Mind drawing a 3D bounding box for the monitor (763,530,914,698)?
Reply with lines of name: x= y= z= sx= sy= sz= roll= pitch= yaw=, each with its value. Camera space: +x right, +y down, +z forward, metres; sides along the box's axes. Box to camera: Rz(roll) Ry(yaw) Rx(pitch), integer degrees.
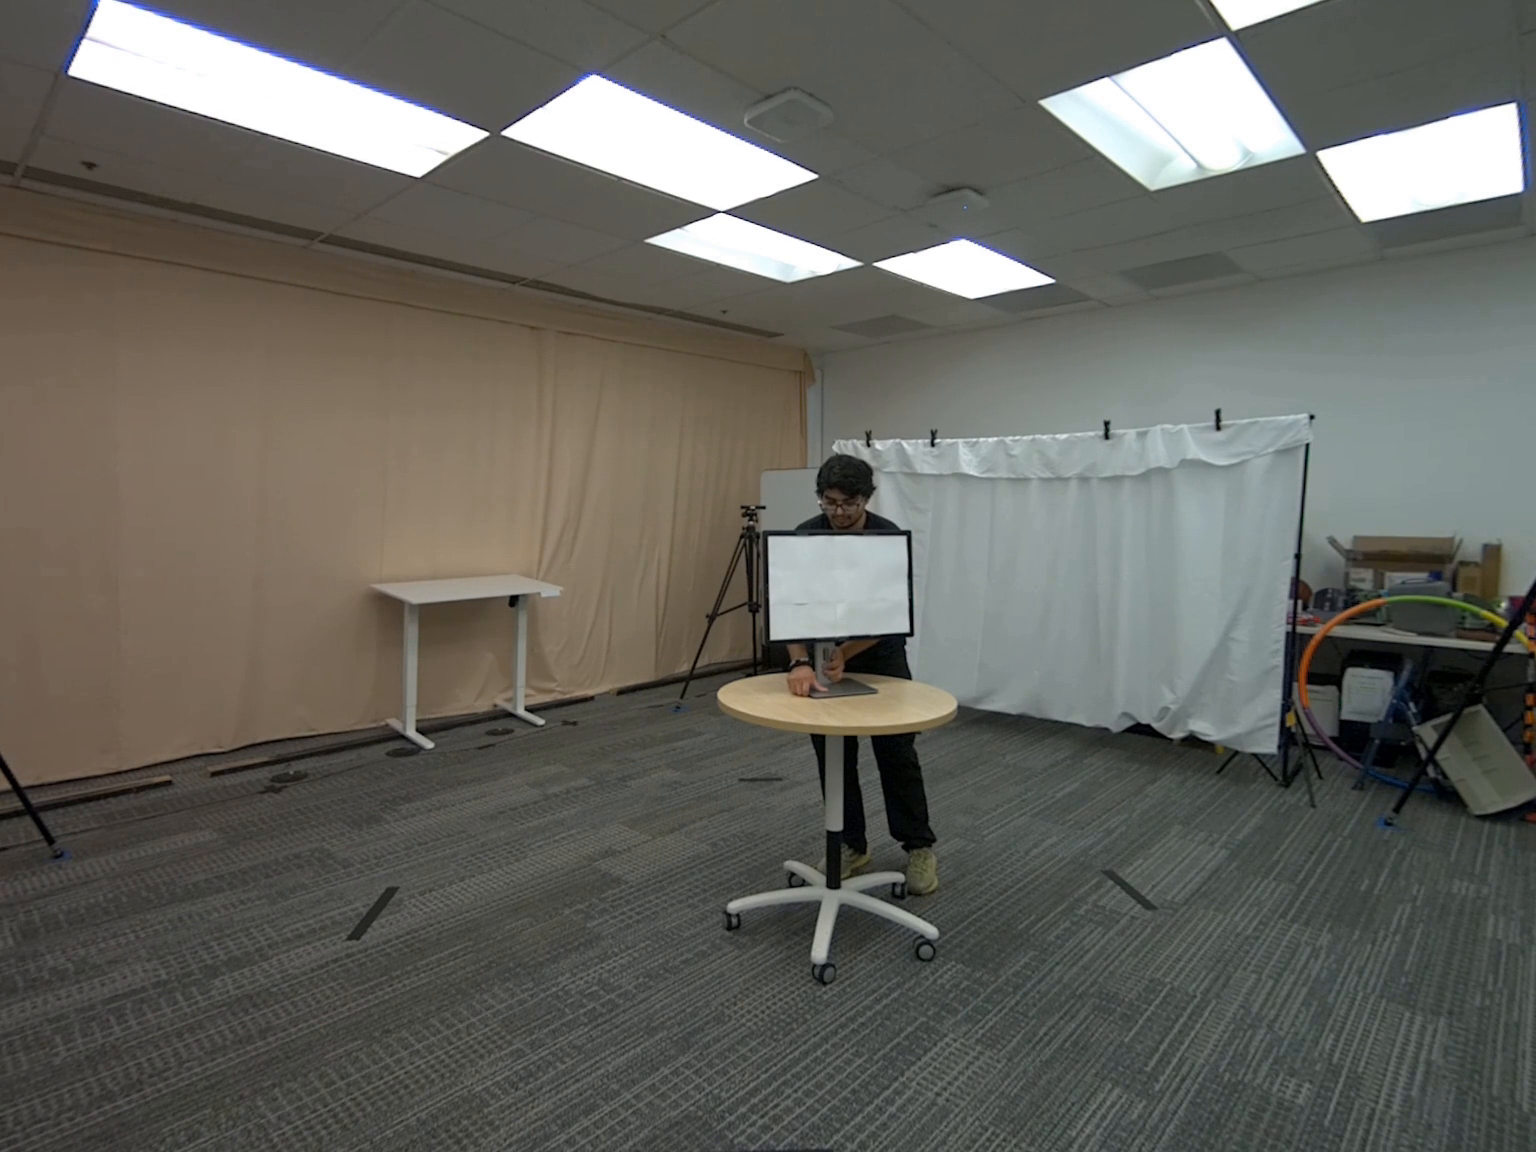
monitor: x=0.216 y=0.115 z=2.825 sx=0.553 sy=0.553 sz=0.215 roll=-1 pitch=2 yaw=-22
